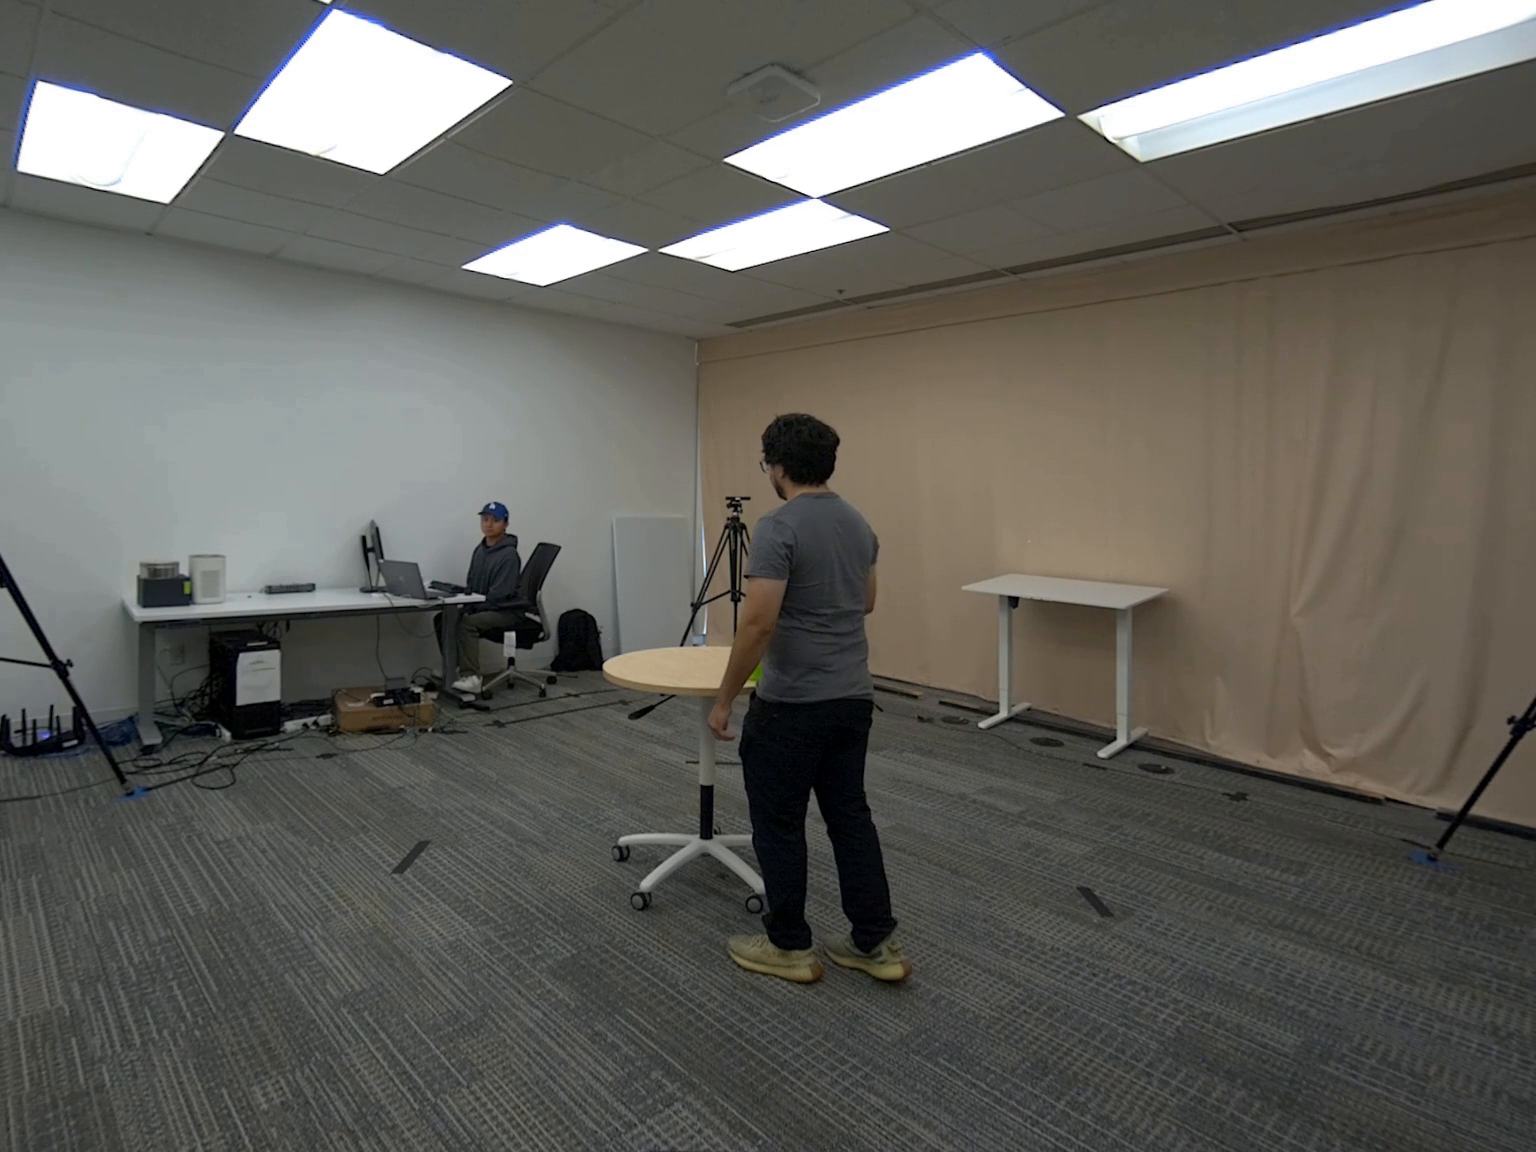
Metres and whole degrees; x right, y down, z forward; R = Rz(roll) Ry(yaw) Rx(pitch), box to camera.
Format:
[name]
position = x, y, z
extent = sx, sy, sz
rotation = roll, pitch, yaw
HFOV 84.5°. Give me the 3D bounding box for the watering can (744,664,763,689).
[watering can]
position = 0.012, 0.264, 2.857
extent = 0.276, 0.177, 0.098
rotation = -3, 1, -8
